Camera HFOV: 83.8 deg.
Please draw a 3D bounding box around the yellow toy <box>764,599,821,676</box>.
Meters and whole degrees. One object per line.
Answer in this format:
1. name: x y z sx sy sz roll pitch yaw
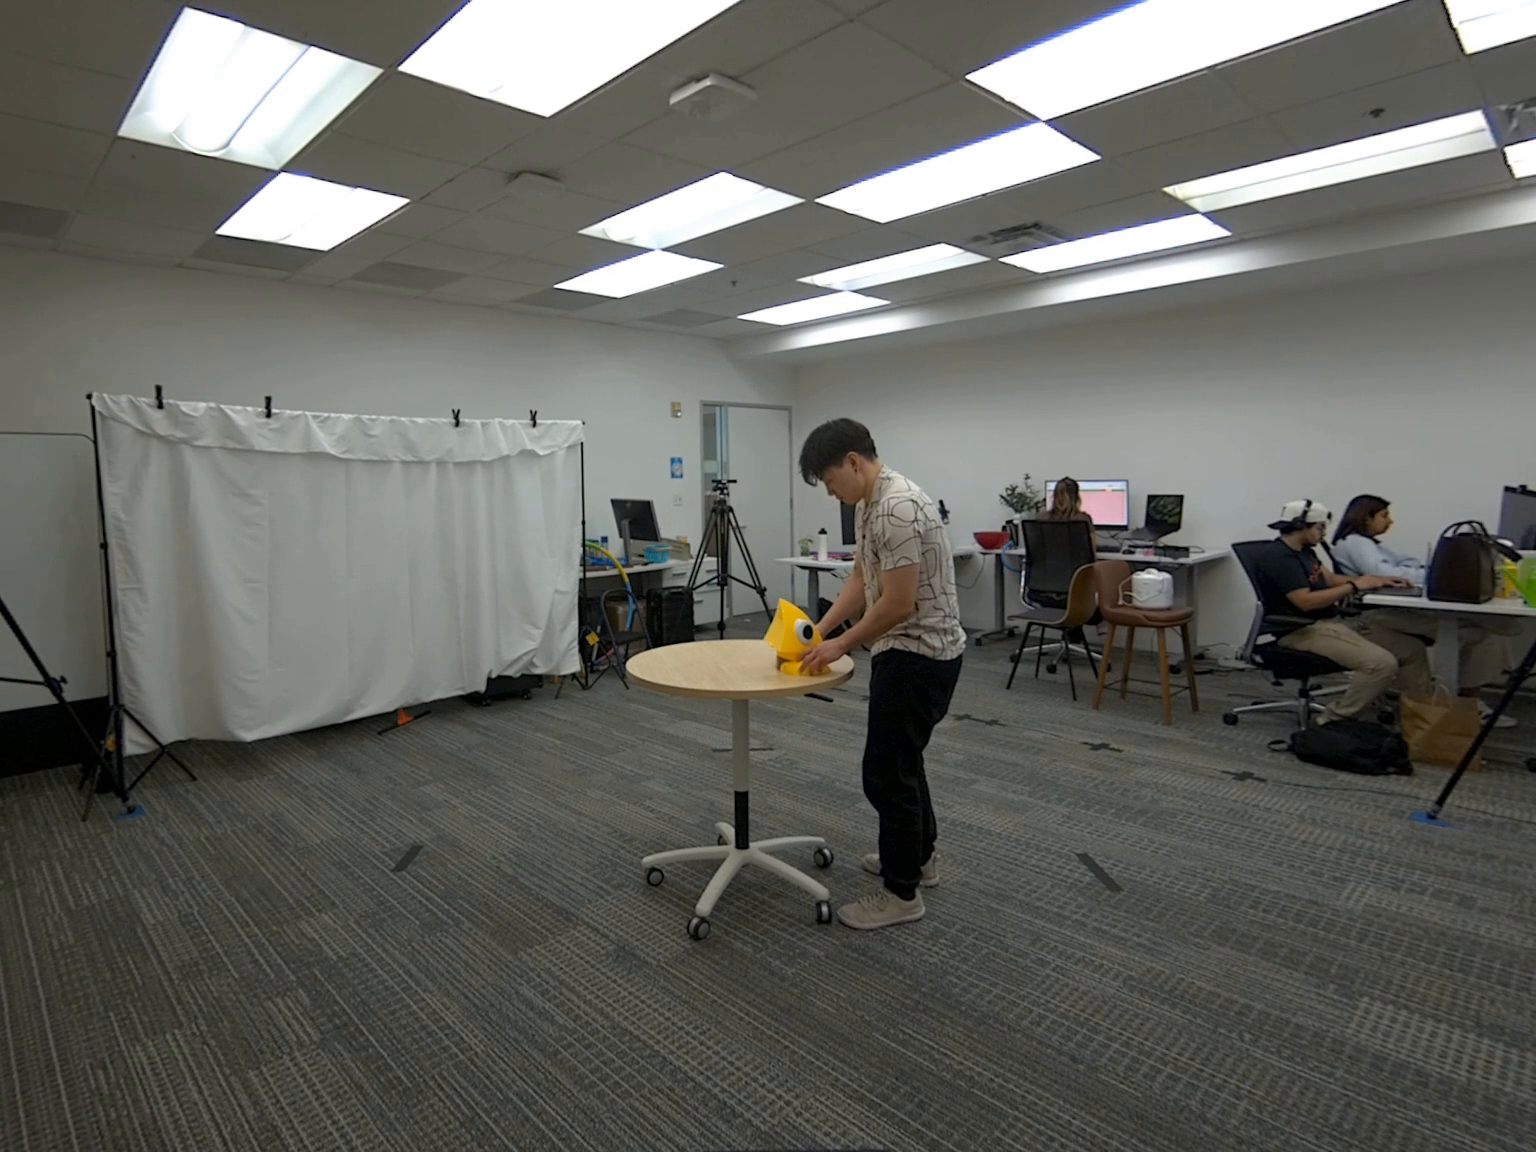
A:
1. yellow toy: 0.104 0.184 2.779 0.191 0.230 0.208 -3 5 -13
